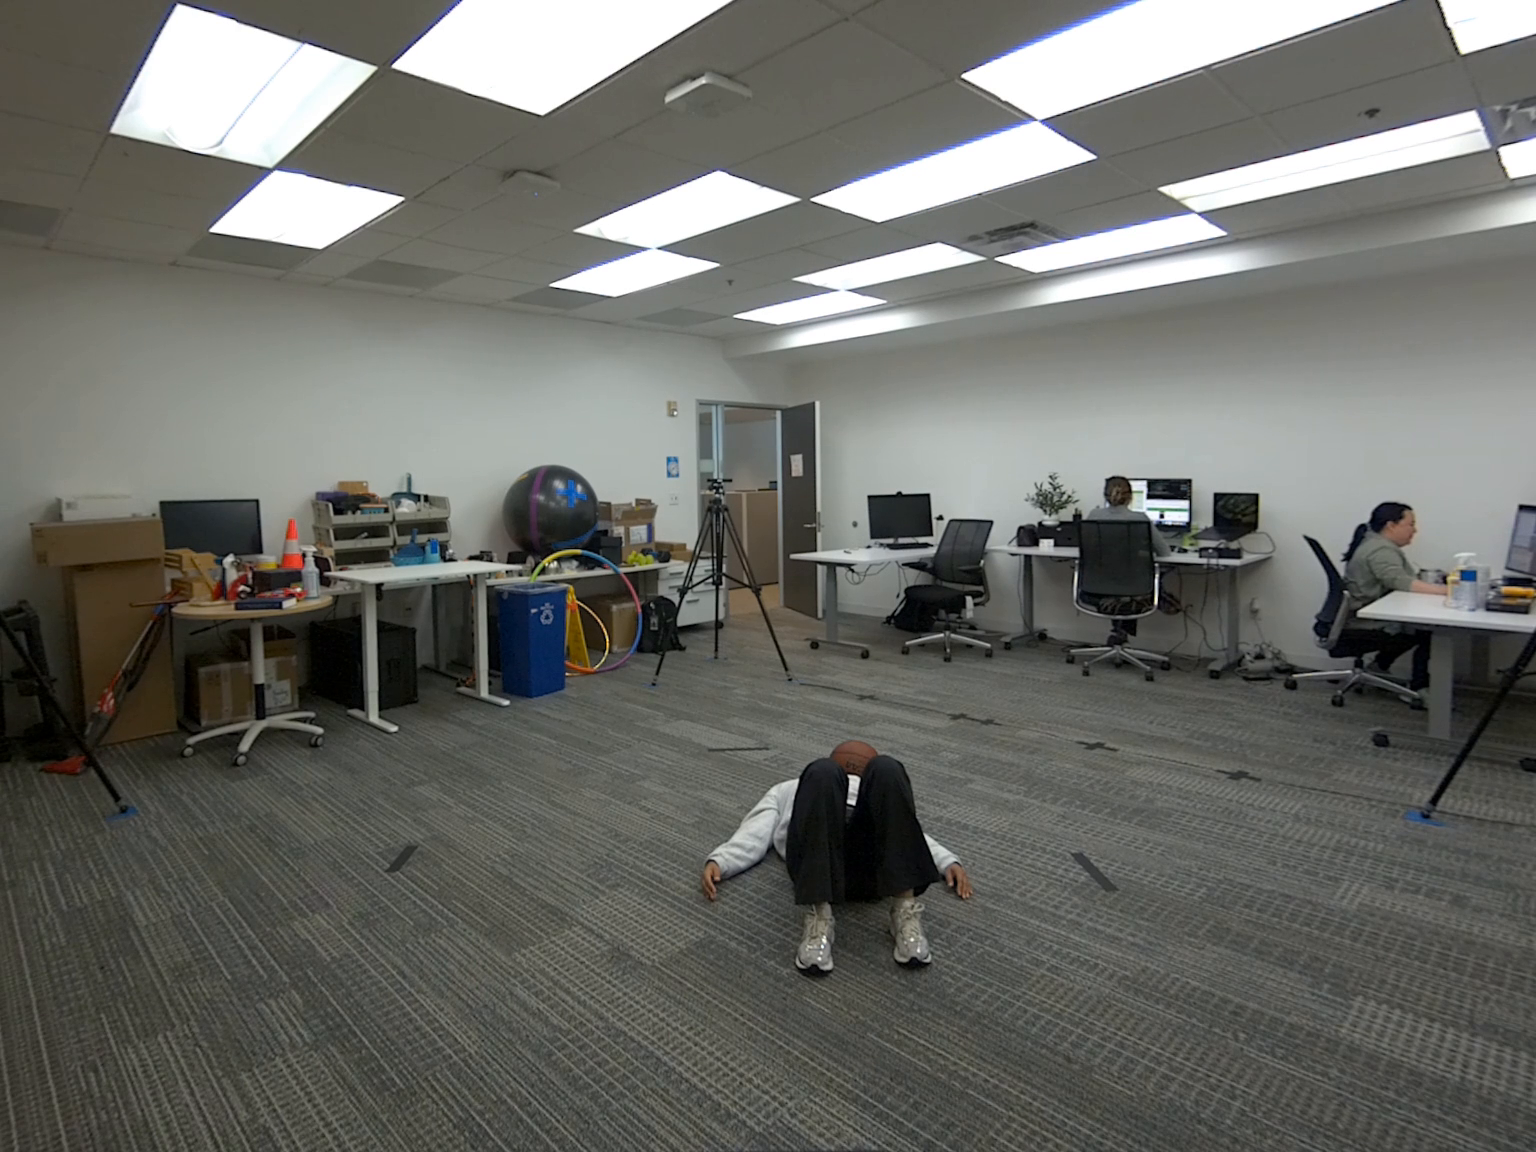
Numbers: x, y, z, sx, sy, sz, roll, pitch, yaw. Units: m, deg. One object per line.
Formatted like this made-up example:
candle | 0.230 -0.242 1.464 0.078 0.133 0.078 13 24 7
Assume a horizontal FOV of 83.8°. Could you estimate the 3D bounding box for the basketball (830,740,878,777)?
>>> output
basketball | 0.385 0.840 3.766 0.236 0.235 0.237 -1 5 -2
